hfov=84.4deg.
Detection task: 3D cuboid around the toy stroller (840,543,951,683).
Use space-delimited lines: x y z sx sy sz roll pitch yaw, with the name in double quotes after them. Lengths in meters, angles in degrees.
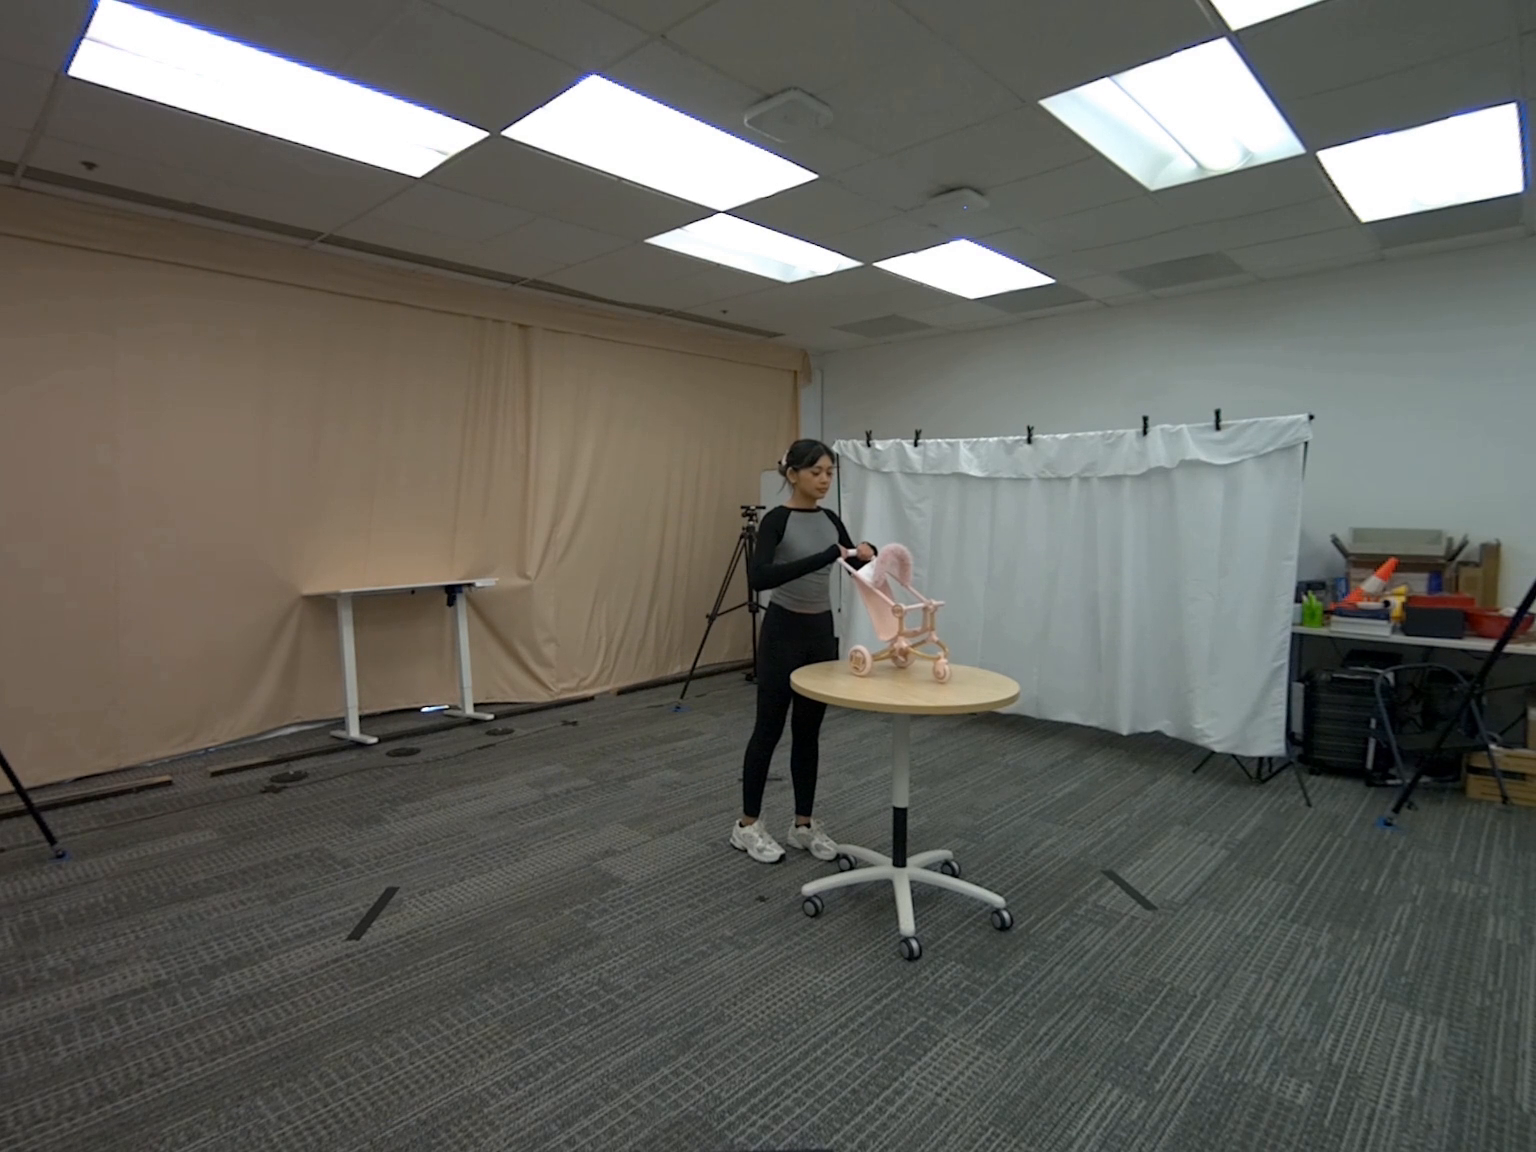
0.458 0.123 2.967 0.273 0.539 0.349 -3 -11 -40 "toy stroller"
